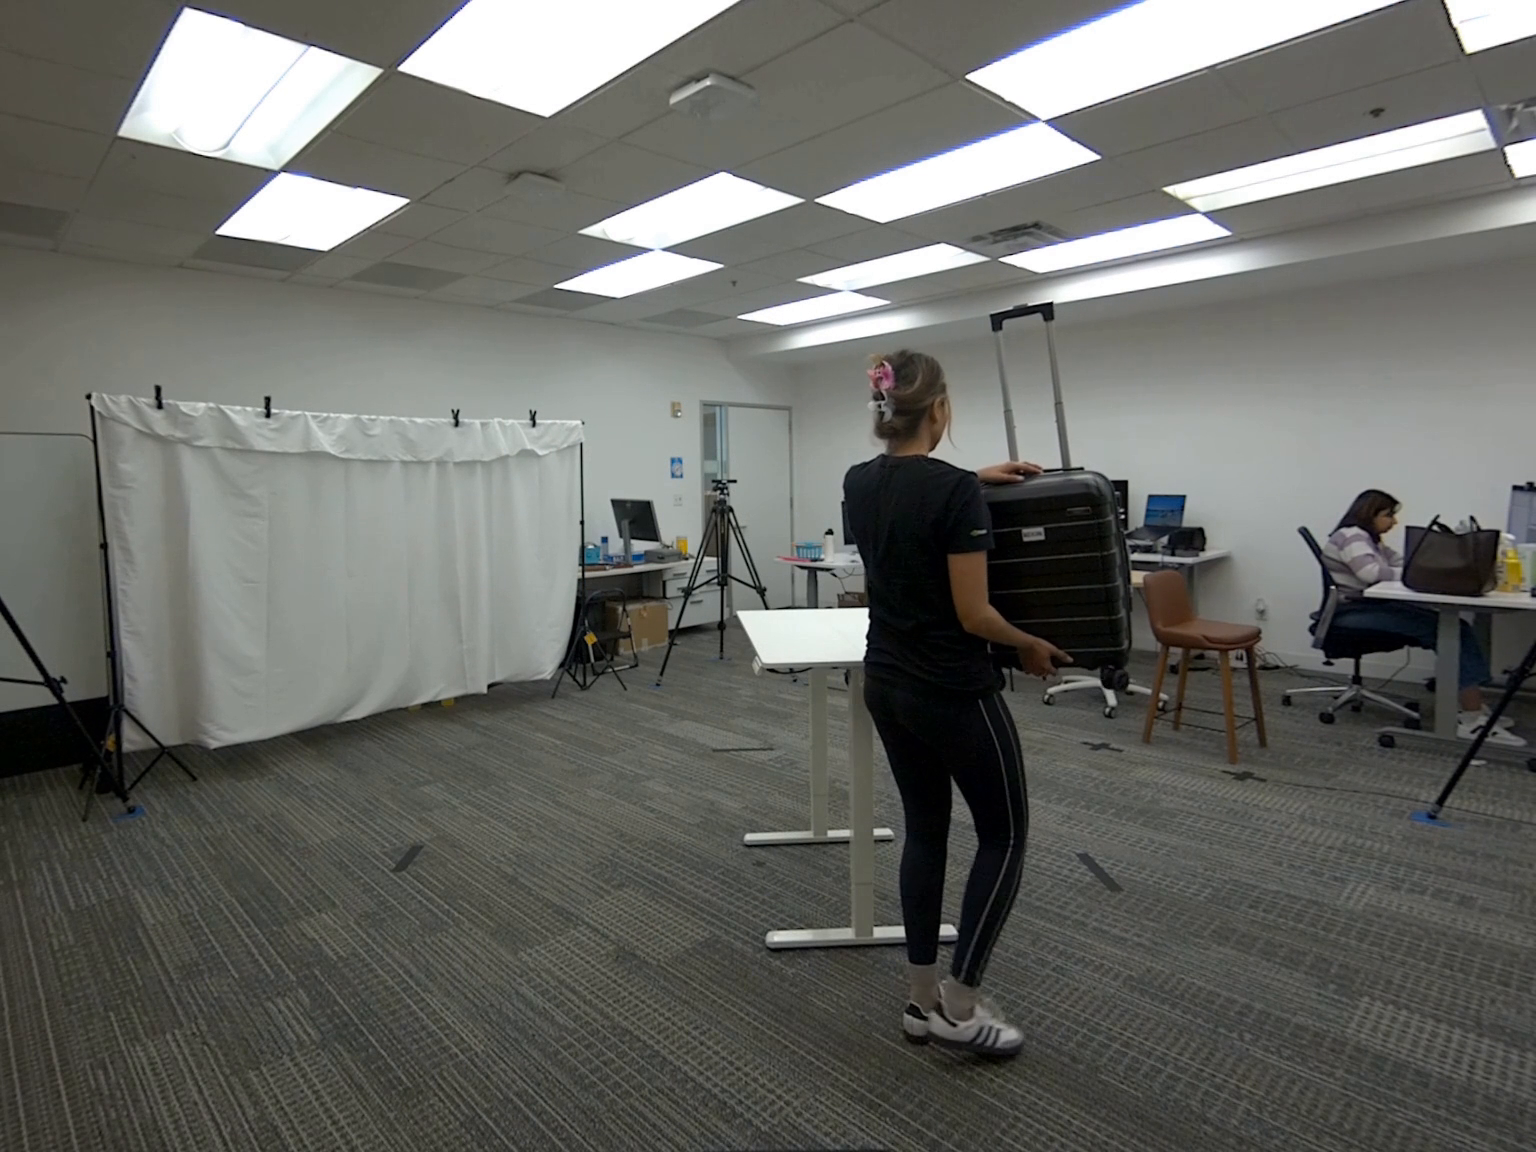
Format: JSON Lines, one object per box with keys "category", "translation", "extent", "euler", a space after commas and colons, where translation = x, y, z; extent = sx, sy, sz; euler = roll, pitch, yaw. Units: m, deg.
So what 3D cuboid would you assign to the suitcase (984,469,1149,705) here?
{"category": "suitcase", "translation": [0.711, -0.203, 2.214], "extent": [0.392, 0.969, 0.254], "euler": [-6, 10, 25]}
